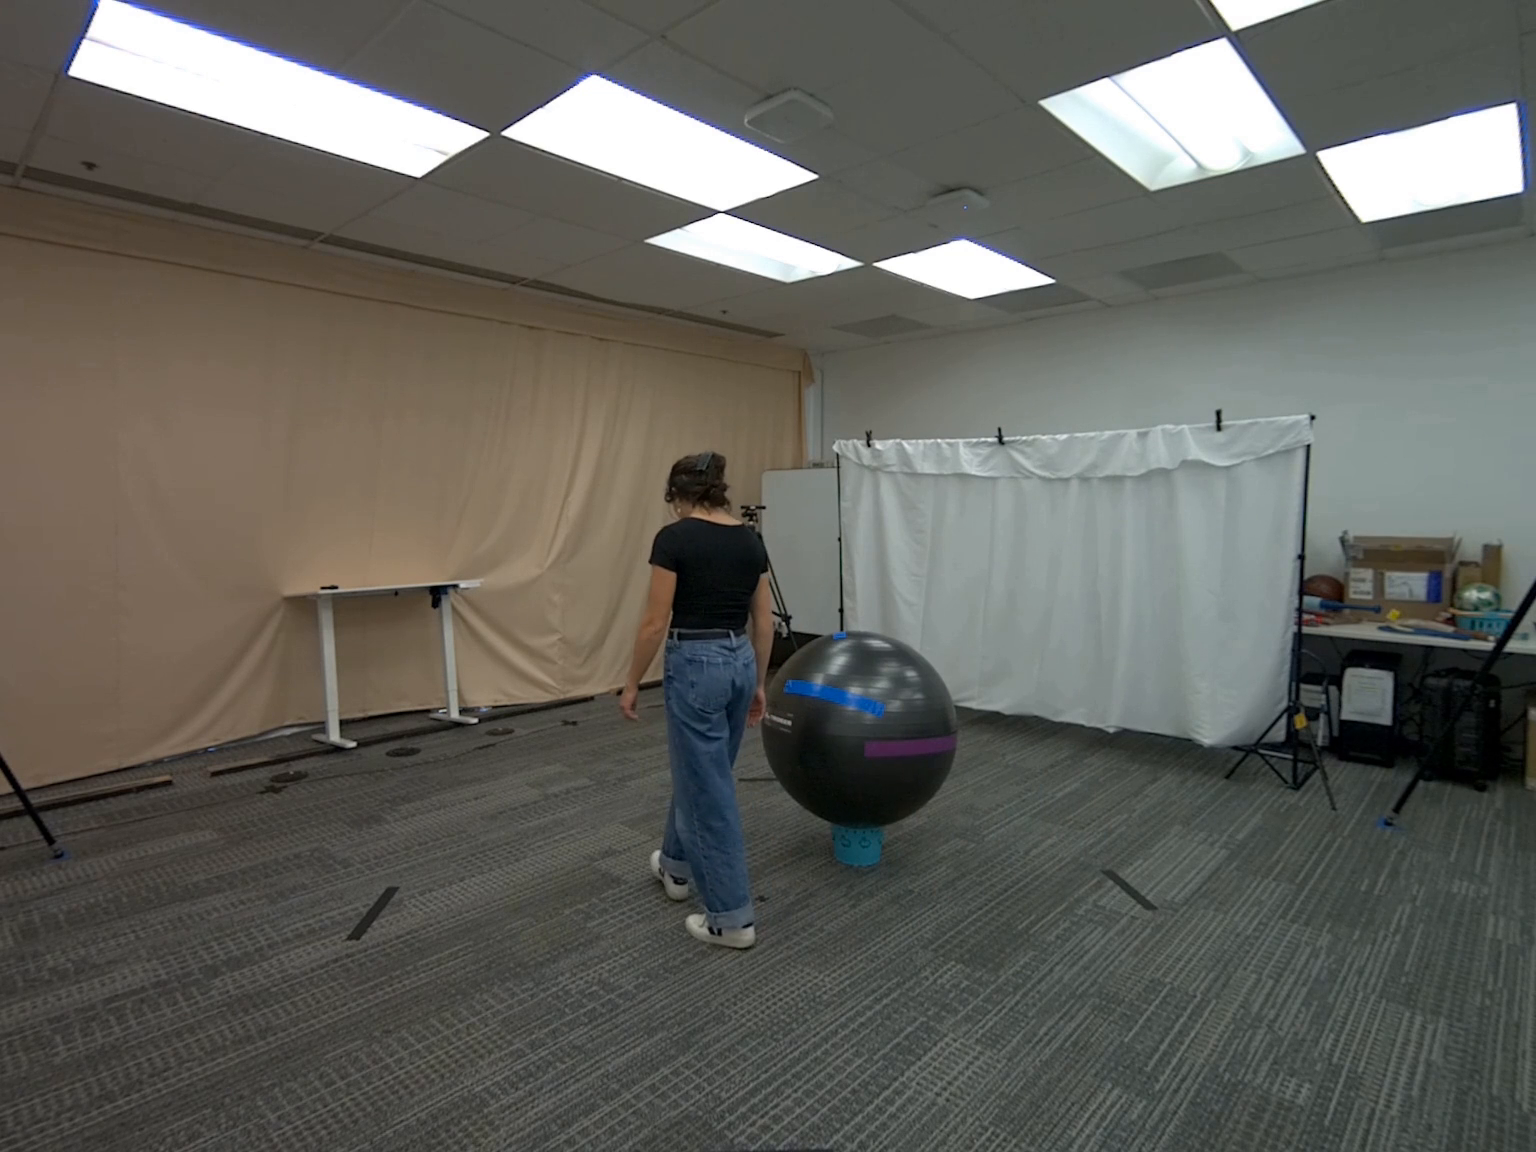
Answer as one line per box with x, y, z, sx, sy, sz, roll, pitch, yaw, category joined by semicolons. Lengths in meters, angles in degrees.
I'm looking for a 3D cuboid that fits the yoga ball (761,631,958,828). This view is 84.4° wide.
0.357;0.600;3.333;0.757;0.756;0.760;0;4;-2;yoga ball
